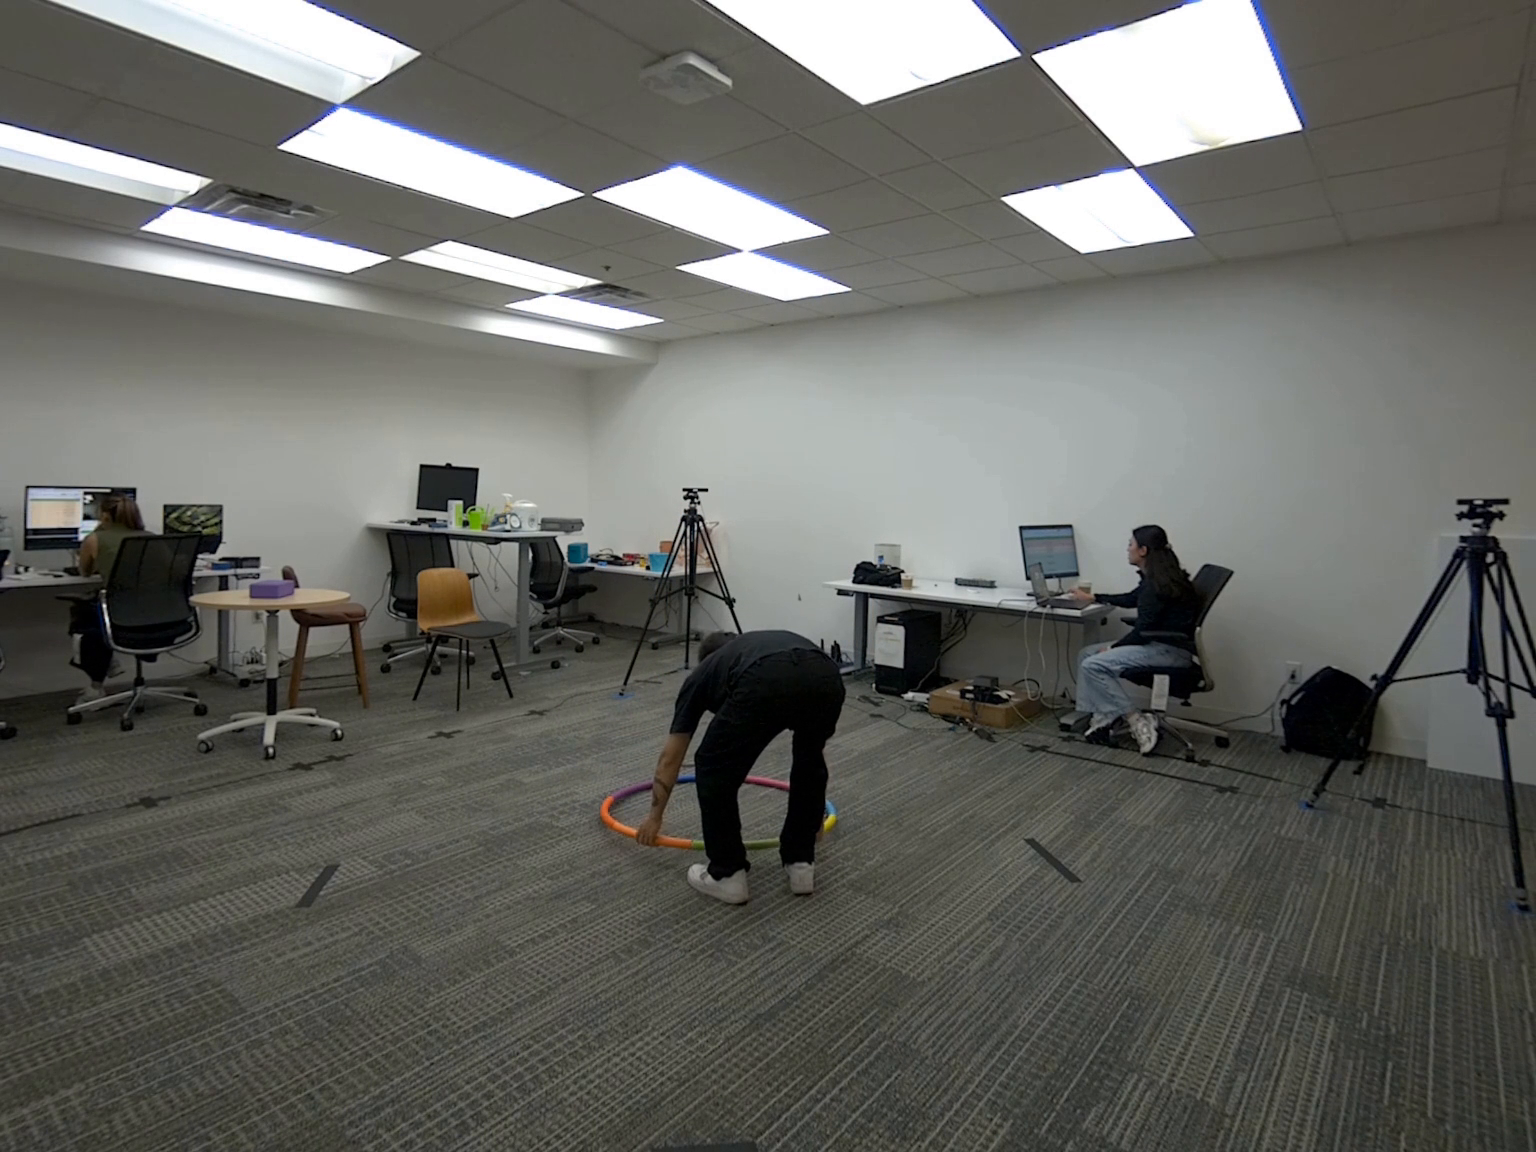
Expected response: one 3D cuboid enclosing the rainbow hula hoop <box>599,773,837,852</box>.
[{"bbox_3d":[-0.220,0.971,3.596,0.978,0.035,0.980,1,2,-2],"label":"rainbow hula hoop"}]
